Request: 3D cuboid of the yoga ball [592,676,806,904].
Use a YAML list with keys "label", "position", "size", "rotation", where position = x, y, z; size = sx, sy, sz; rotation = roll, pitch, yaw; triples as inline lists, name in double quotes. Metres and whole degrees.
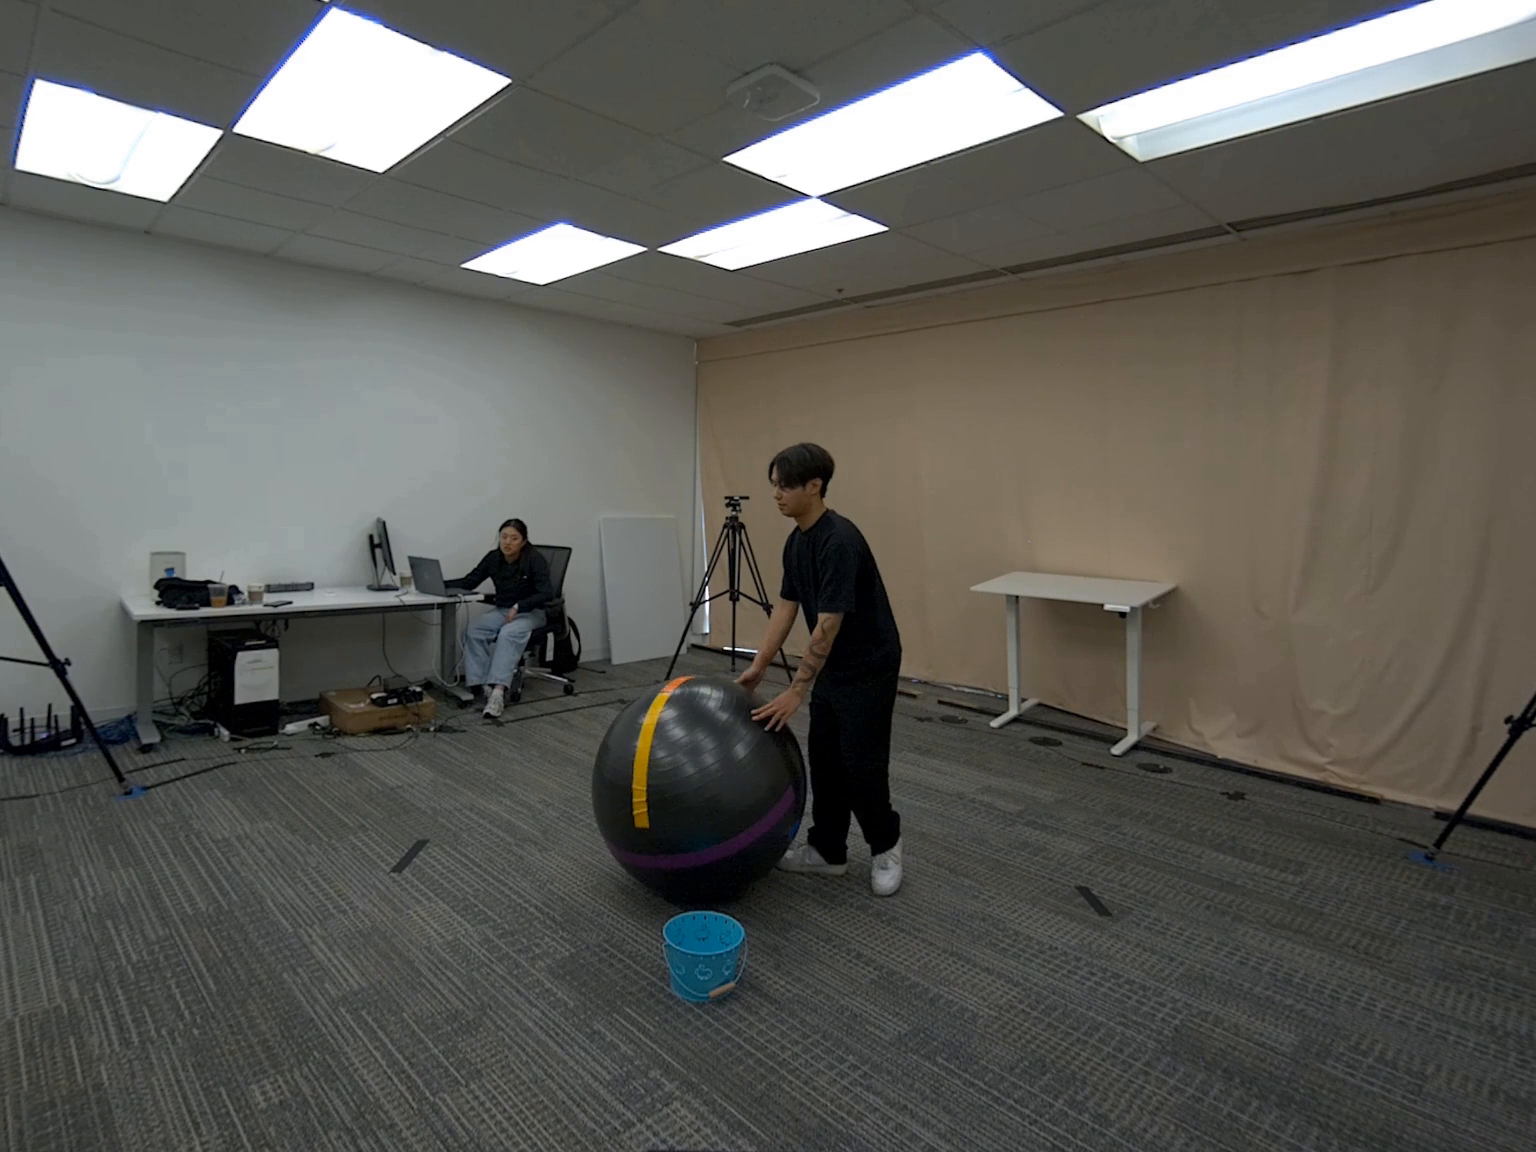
- label: "yoga ball"
  position: [-0.245, 0.745, 2.981]
  size: [0.757, 0.756, 0.761]
  rotation: [1, 4, -1]
